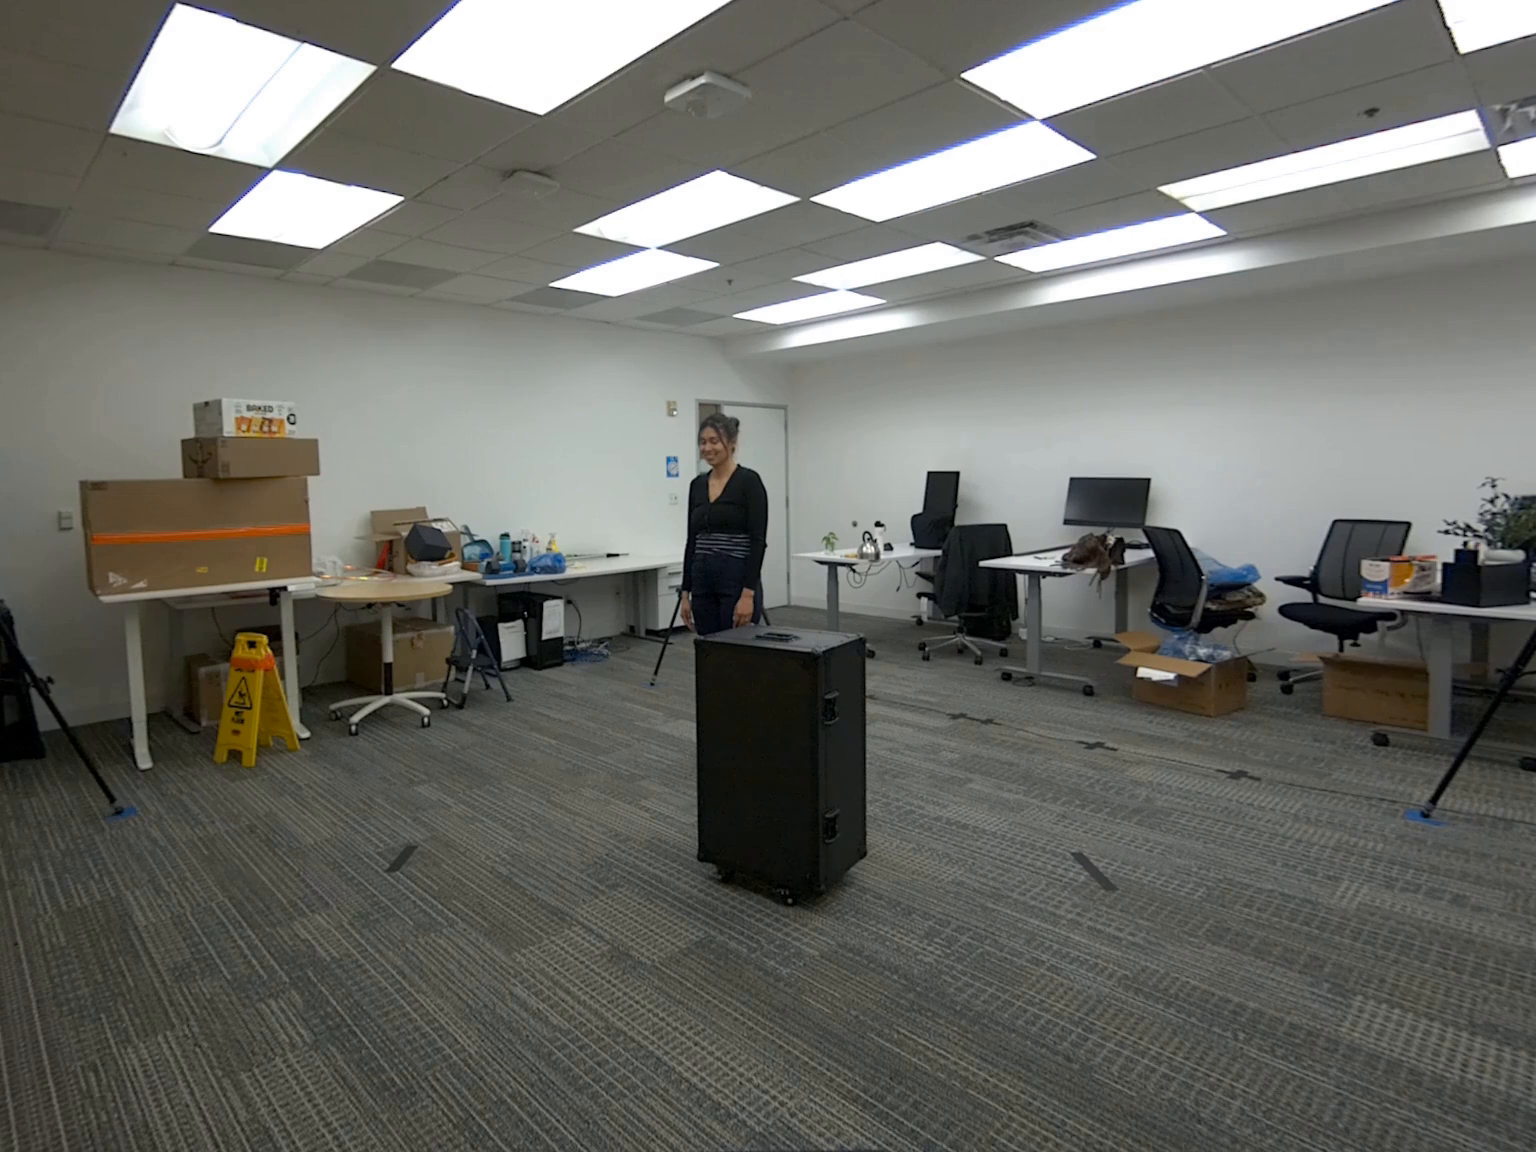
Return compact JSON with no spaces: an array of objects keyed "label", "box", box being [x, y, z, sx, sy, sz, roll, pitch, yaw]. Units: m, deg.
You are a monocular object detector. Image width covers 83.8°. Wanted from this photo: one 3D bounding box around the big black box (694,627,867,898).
[{"label":"big black box","box":[0.049,0.632,2.976,0.536,0.859,0.386,2,3,34]}]
